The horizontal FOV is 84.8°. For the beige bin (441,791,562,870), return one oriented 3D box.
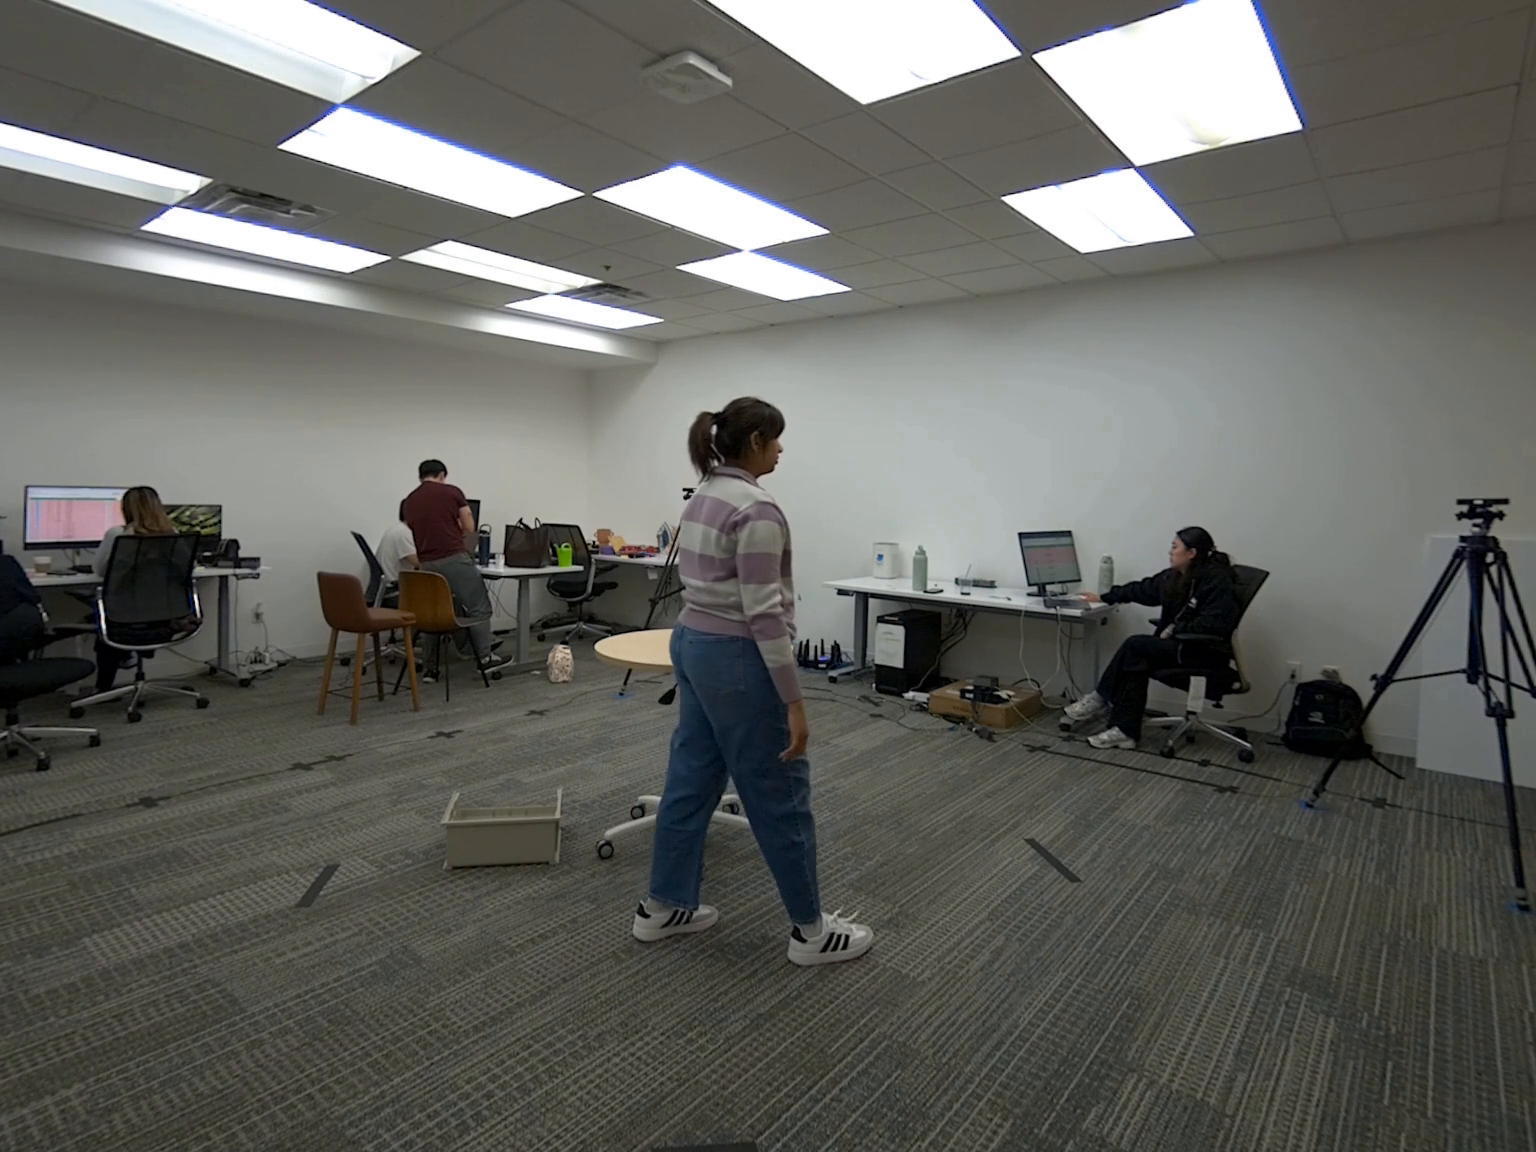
[{"bbox_3d":[-1.020,0.952,3.263,0.418,0.188,0.383,0,5,-11],"label":"beige bin"}]
